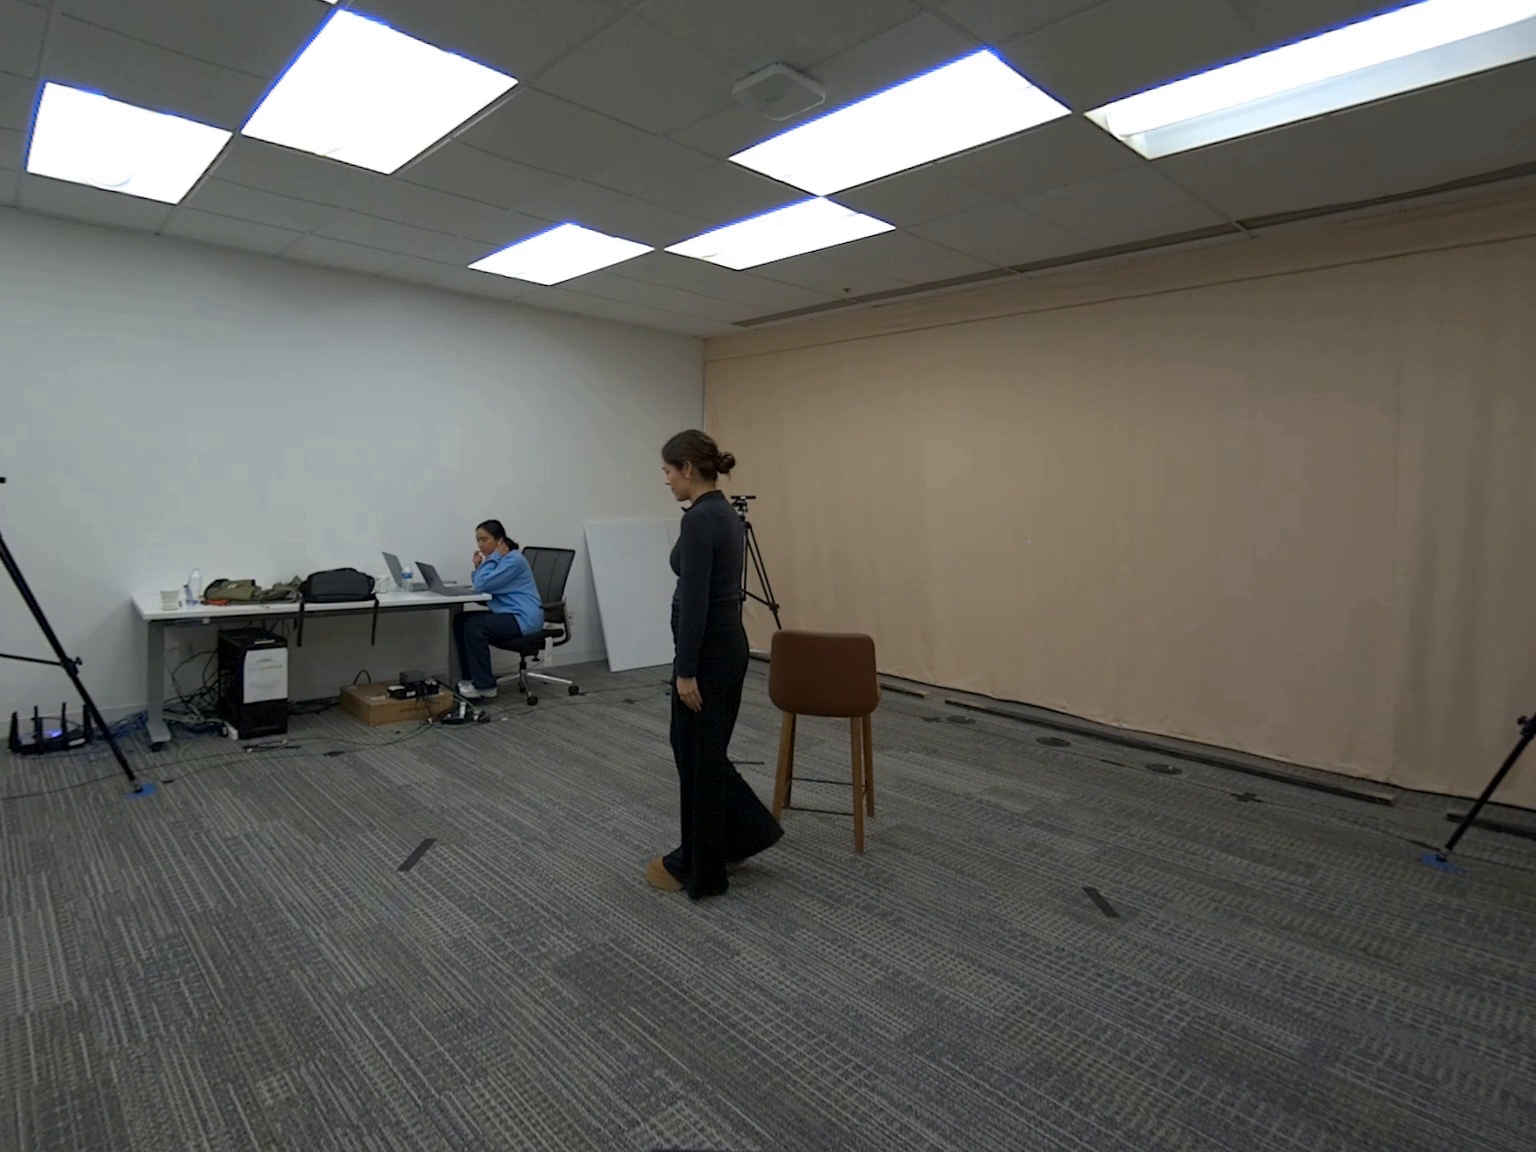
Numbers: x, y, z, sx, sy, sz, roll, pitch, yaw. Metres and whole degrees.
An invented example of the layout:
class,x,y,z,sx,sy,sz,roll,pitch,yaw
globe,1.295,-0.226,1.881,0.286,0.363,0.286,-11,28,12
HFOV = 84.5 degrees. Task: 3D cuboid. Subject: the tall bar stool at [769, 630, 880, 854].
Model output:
class,x,y,z,sx,sy,sz,roll,pitch,yaw
tall bar stool,0.233,0.638,3.544,0.461,0.887,0.464,2,5,13
